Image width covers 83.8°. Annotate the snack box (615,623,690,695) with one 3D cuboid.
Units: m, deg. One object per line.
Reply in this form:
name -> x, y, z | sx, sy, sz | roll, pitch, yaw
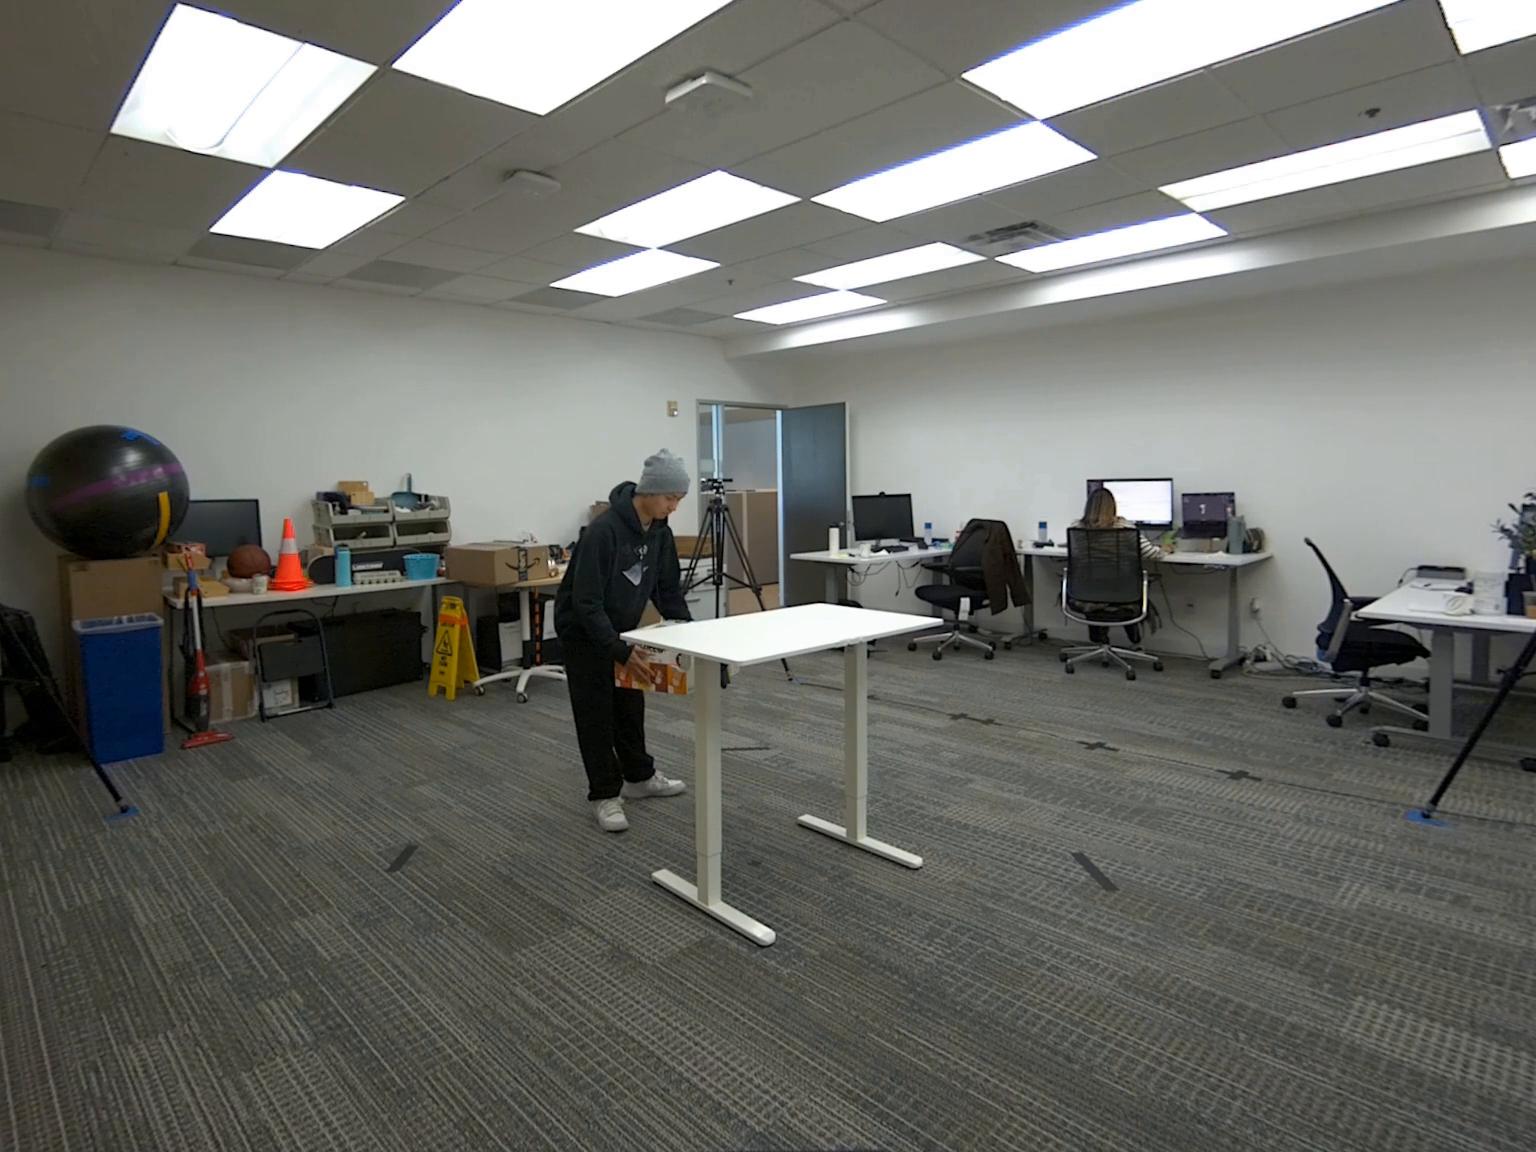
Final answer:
snack box -> -0.360, 0.319, 3.441 | 0.349, 0.205, 0.396 | 2, 6, 29
